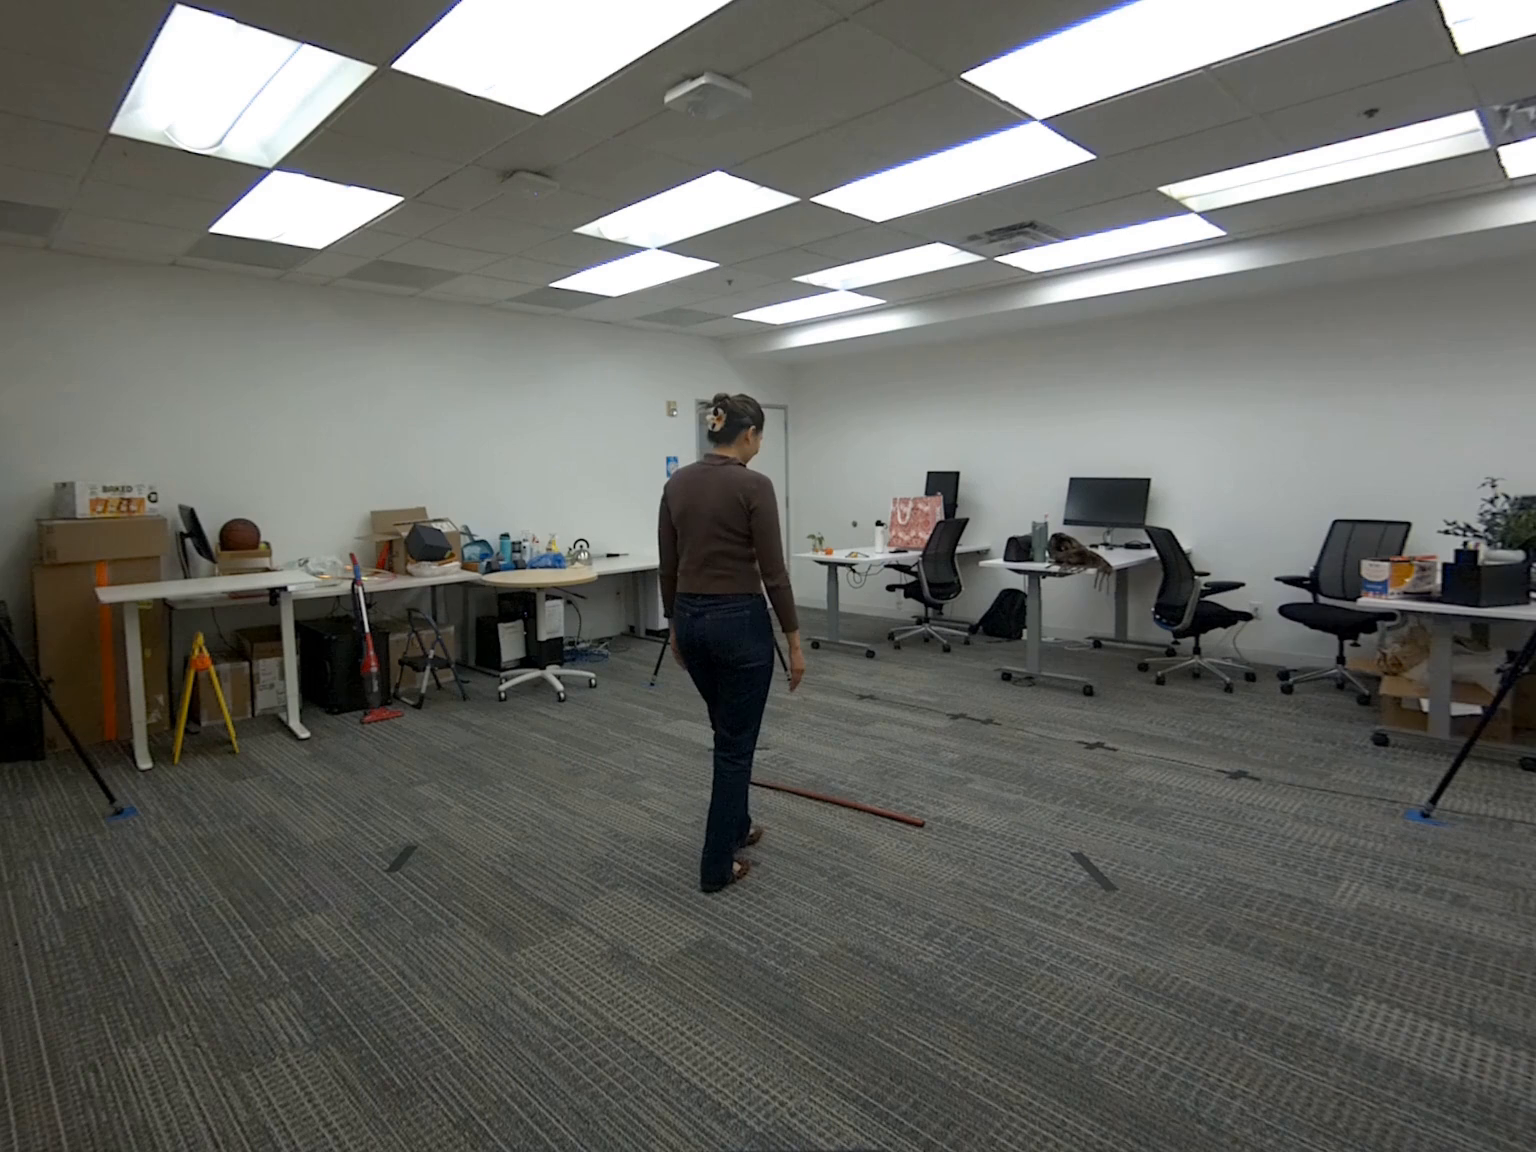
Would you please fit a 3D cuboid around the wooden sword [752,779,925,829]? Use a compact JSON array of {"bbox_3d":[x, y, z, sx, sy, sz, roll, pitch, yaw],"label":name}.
[{"bbox_3d":[0.202,0.951,3.706,1.054,0.024,0.050,3,2,36],"label":"wooden sword"}]
